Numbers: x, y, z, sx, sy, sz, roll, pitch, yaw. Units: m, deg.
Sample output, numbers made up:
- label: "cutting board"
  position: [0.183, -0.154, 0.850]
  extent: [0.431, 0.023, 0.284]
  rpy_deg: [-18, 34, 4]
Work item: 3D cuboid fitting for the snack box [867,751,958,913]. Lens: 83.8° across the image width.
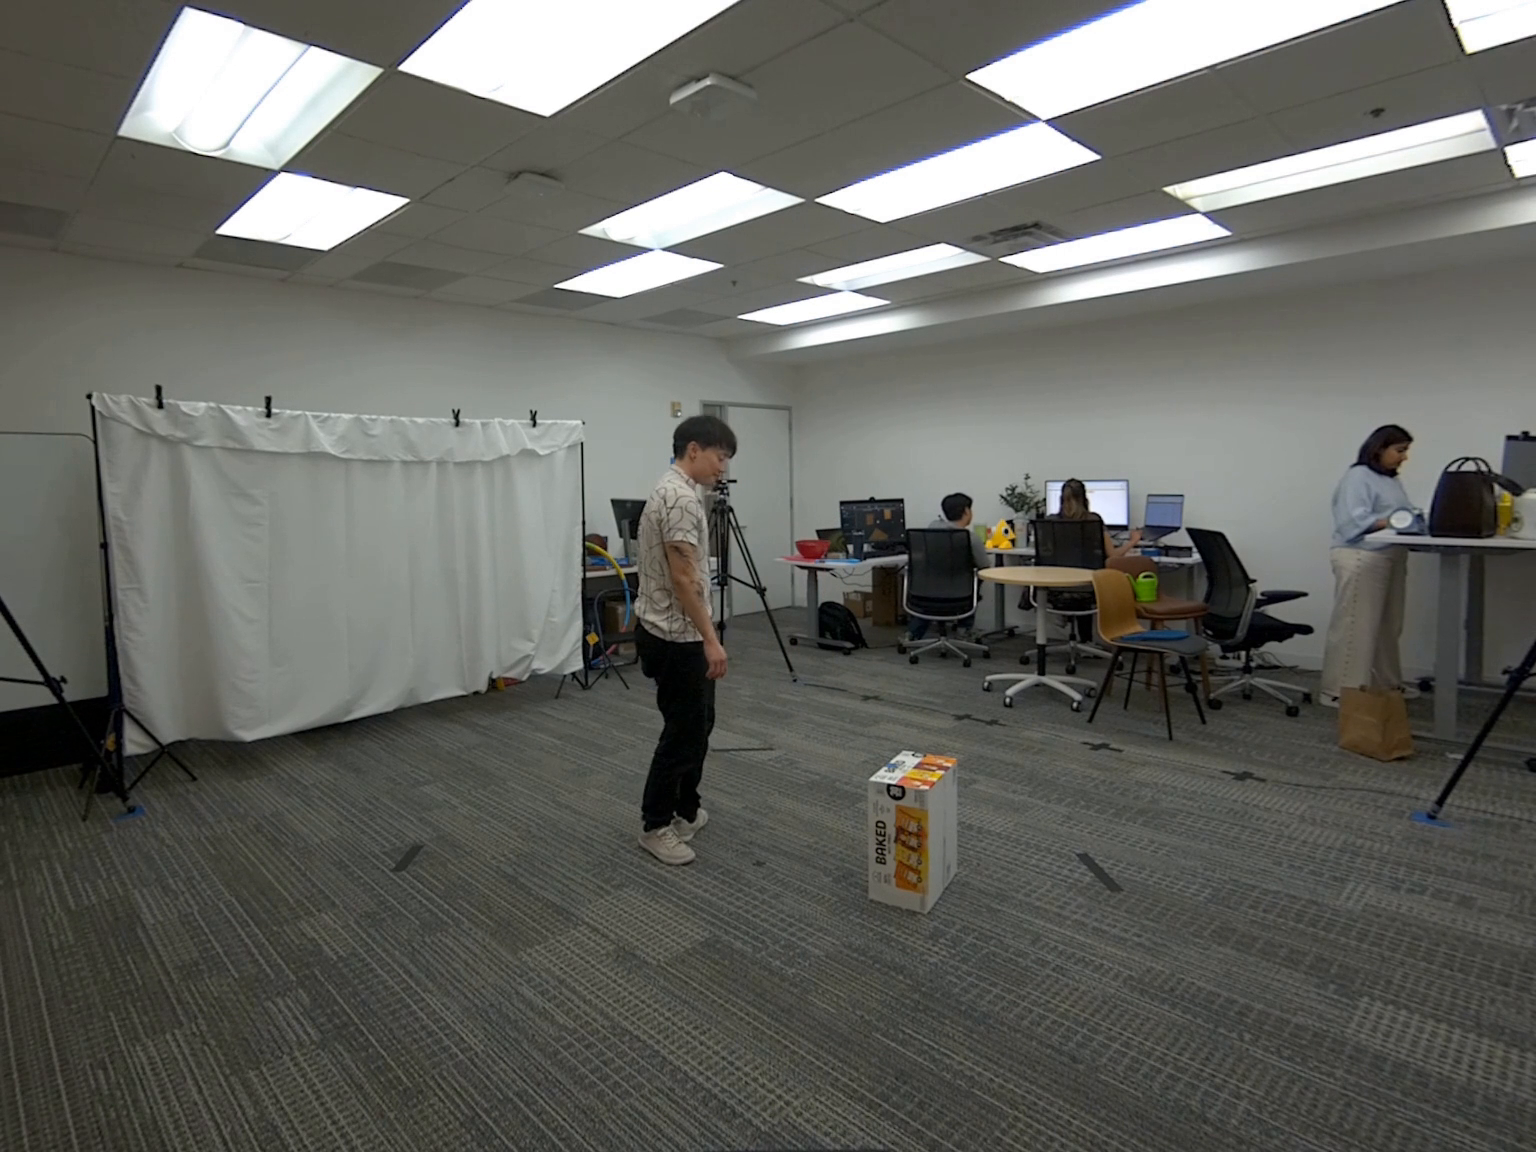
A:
- label: "snack box"
  position: [0.503, 0.855, 2.908]
  extent: [0.211, 0.404, 0.333]
  rpy_deg: [0, 5, 29]
